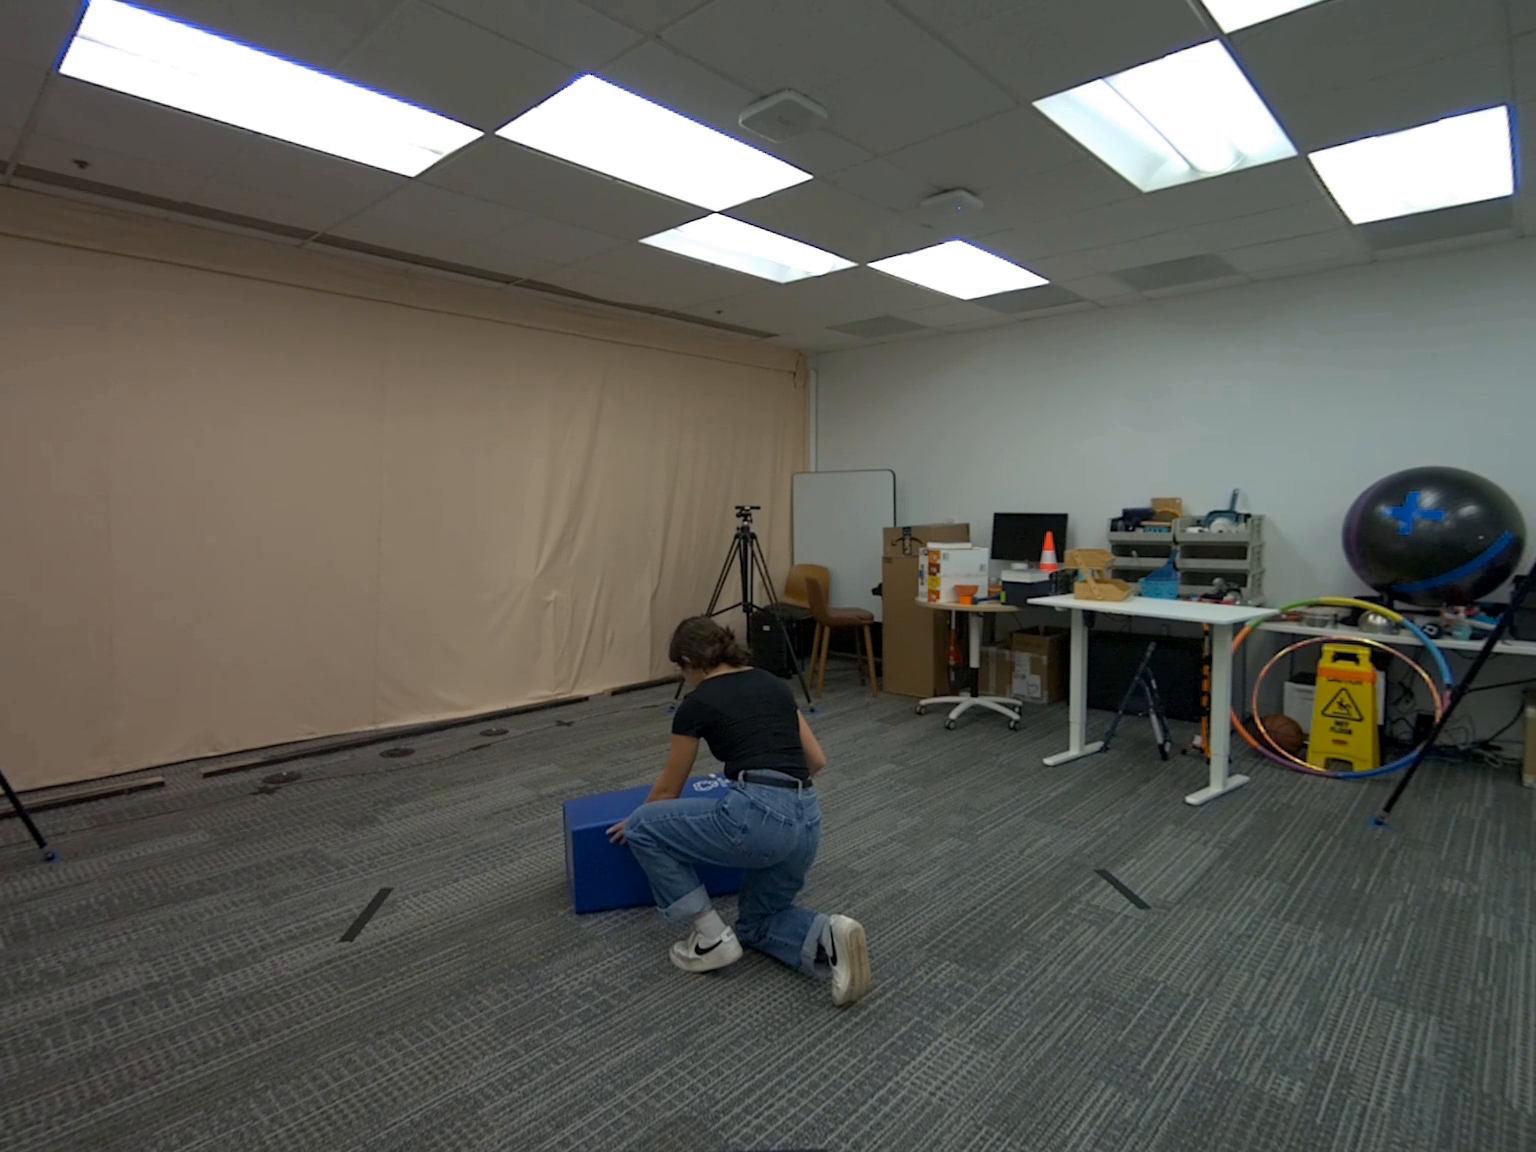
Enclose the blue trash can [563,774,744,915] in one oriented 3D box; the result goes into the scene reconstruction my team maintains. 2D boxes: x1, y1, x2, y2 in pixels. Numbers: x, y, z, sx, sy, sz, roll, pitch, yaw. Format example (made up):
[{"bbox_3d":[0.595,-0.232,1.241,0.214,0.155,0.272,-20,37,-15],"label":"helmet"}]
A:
[{"bbox_3d":[-0.370,0.969,3.088,0.702,0.377,0.381,-4,5,-16],"label":"blue trash can"}]
